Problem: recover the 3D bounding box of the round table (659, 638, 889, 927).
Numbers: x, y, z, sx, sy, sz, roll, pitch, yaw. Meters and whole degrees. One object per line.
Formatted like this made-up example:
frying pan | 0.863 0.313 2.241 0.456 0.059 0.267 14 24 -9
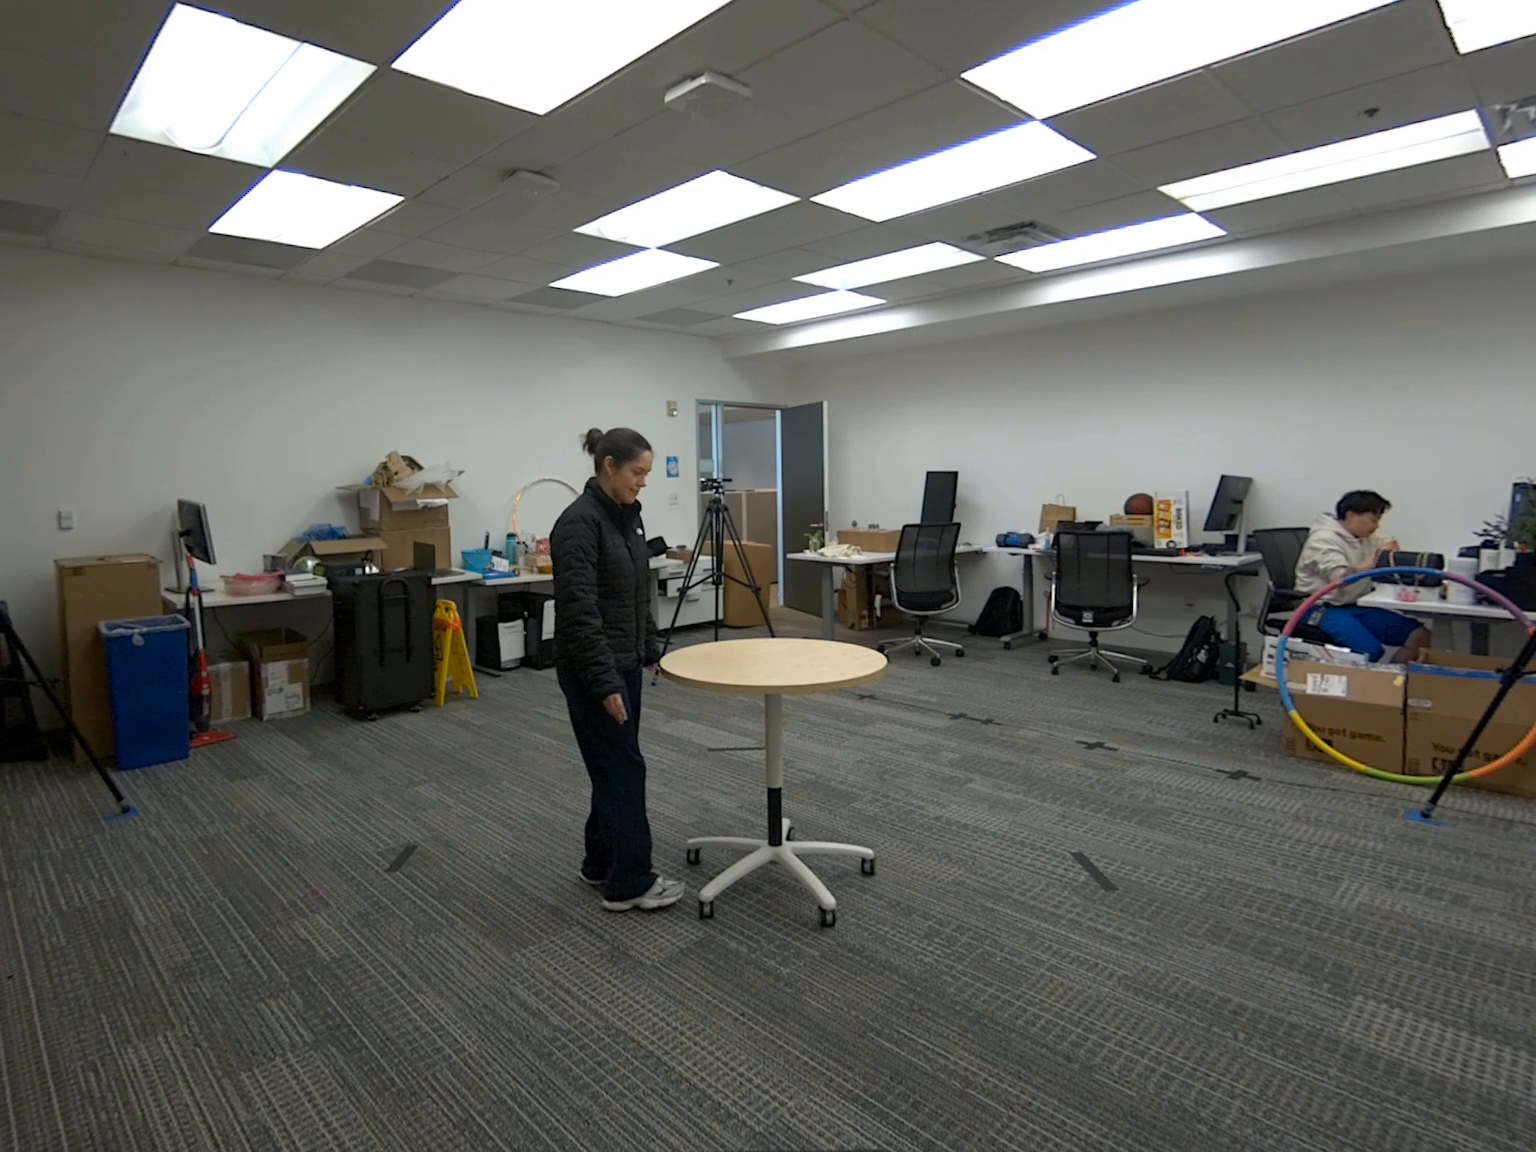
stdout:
round table | 0.011 0.666 2.920 0.784 0.784 0.789 -1 4 -2
